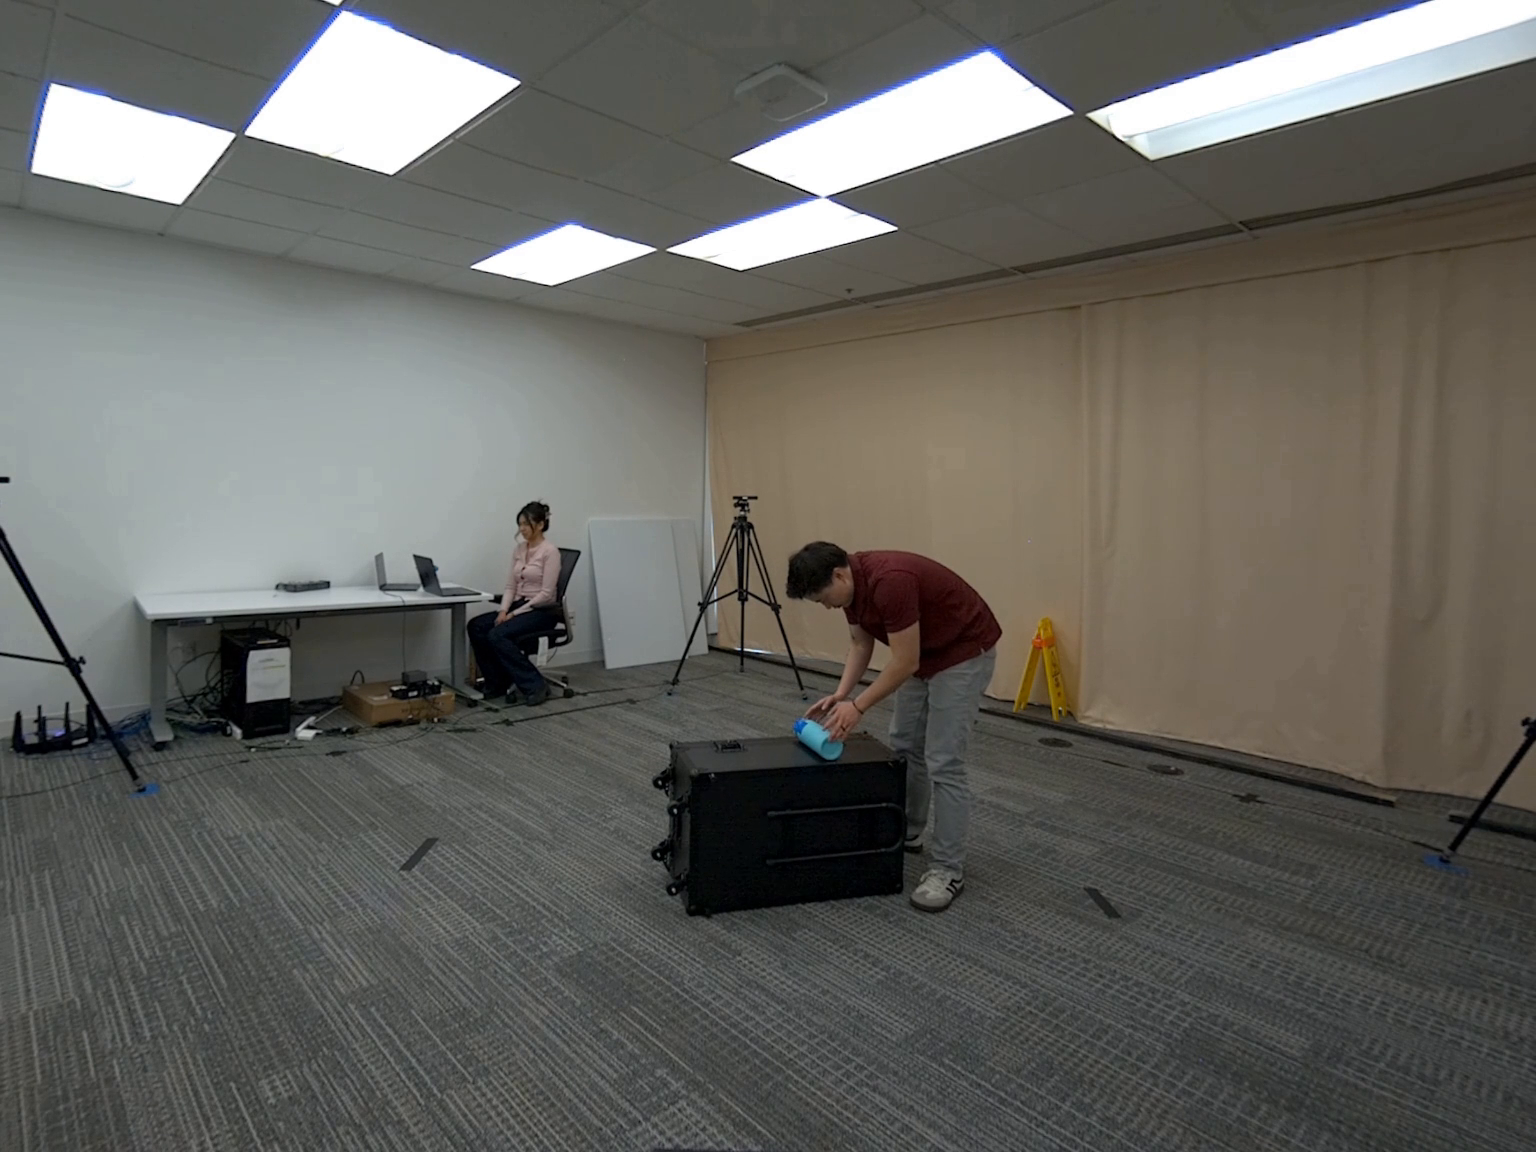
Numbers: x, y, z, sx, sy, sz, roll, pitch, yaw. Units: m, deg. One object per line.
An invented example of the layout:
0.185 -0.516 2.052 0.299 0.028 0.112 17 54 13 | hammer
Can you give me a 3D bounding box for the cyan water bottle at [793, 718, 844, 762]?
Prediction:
0.172 0.582 3.053 0.091 0.092 0.288 0 4 -21 | cyan water bottle
